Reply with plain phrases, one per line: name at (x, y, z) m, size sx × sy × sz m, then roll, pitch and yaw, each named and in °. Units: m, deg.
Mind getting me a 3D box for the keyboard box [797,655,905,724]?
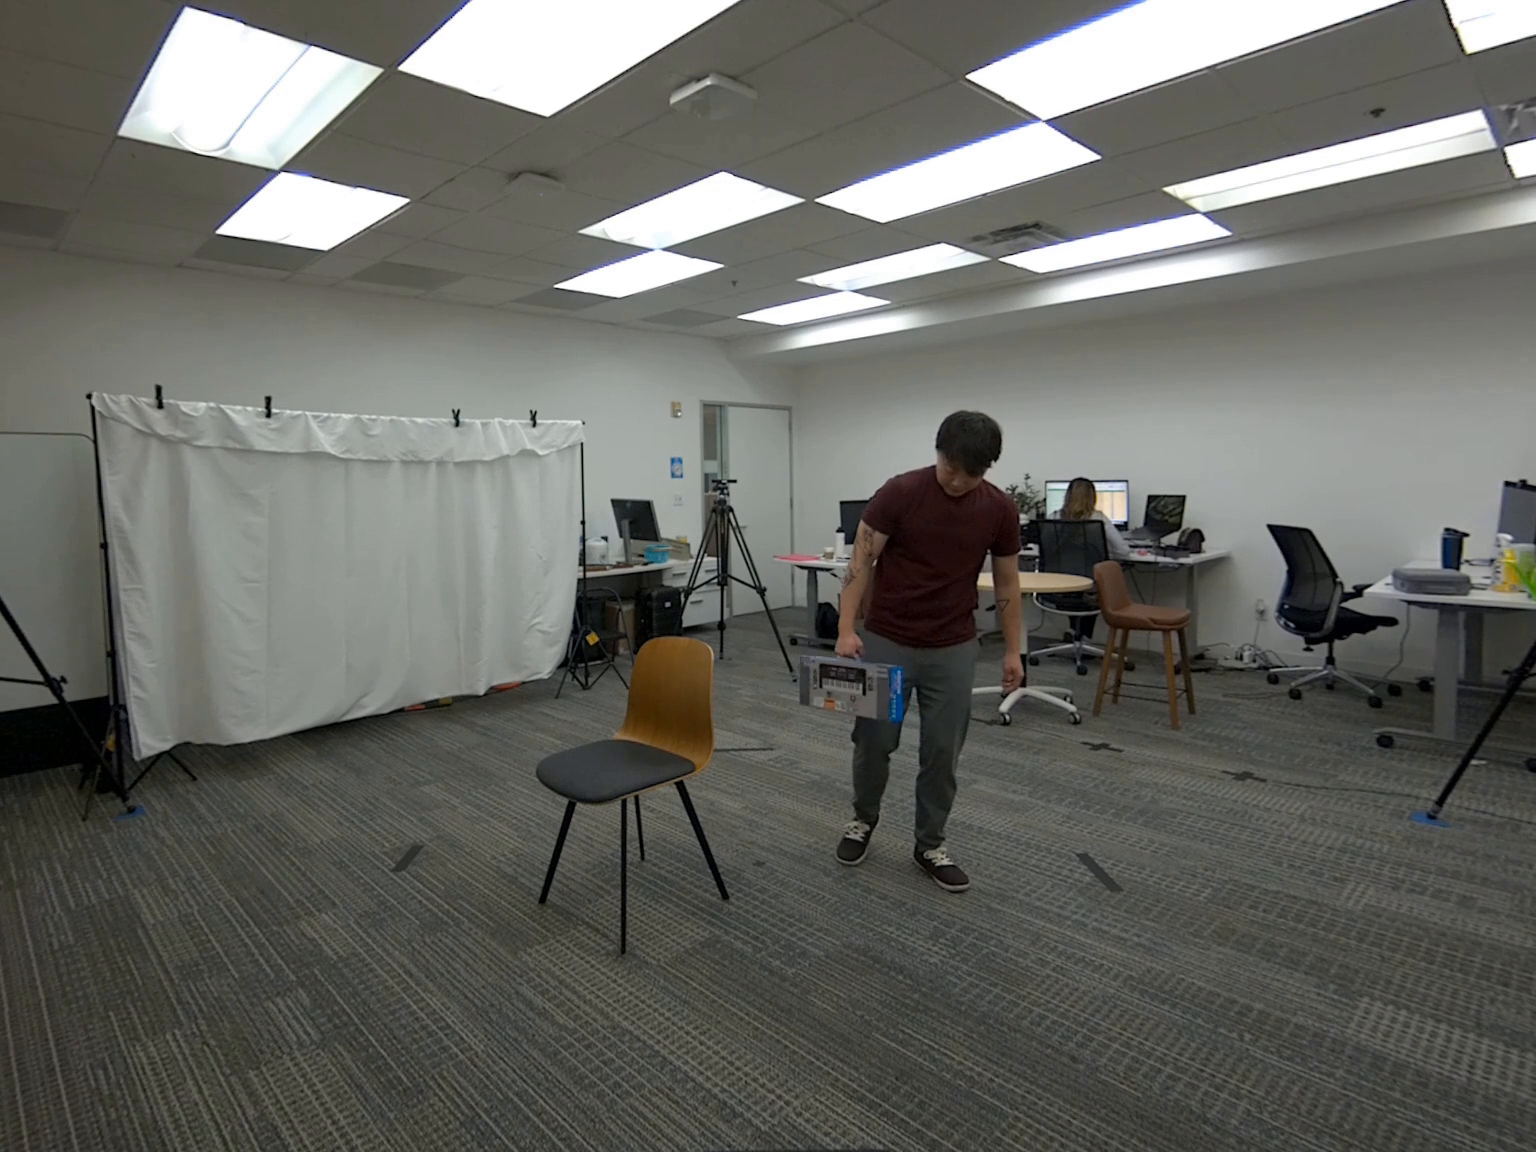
keyboard box at (0.278, 0.376, 2.852) m, size 0.057 × 0.176 × 0.448 m, roll 1°, pitch -1°, yaw -36°
